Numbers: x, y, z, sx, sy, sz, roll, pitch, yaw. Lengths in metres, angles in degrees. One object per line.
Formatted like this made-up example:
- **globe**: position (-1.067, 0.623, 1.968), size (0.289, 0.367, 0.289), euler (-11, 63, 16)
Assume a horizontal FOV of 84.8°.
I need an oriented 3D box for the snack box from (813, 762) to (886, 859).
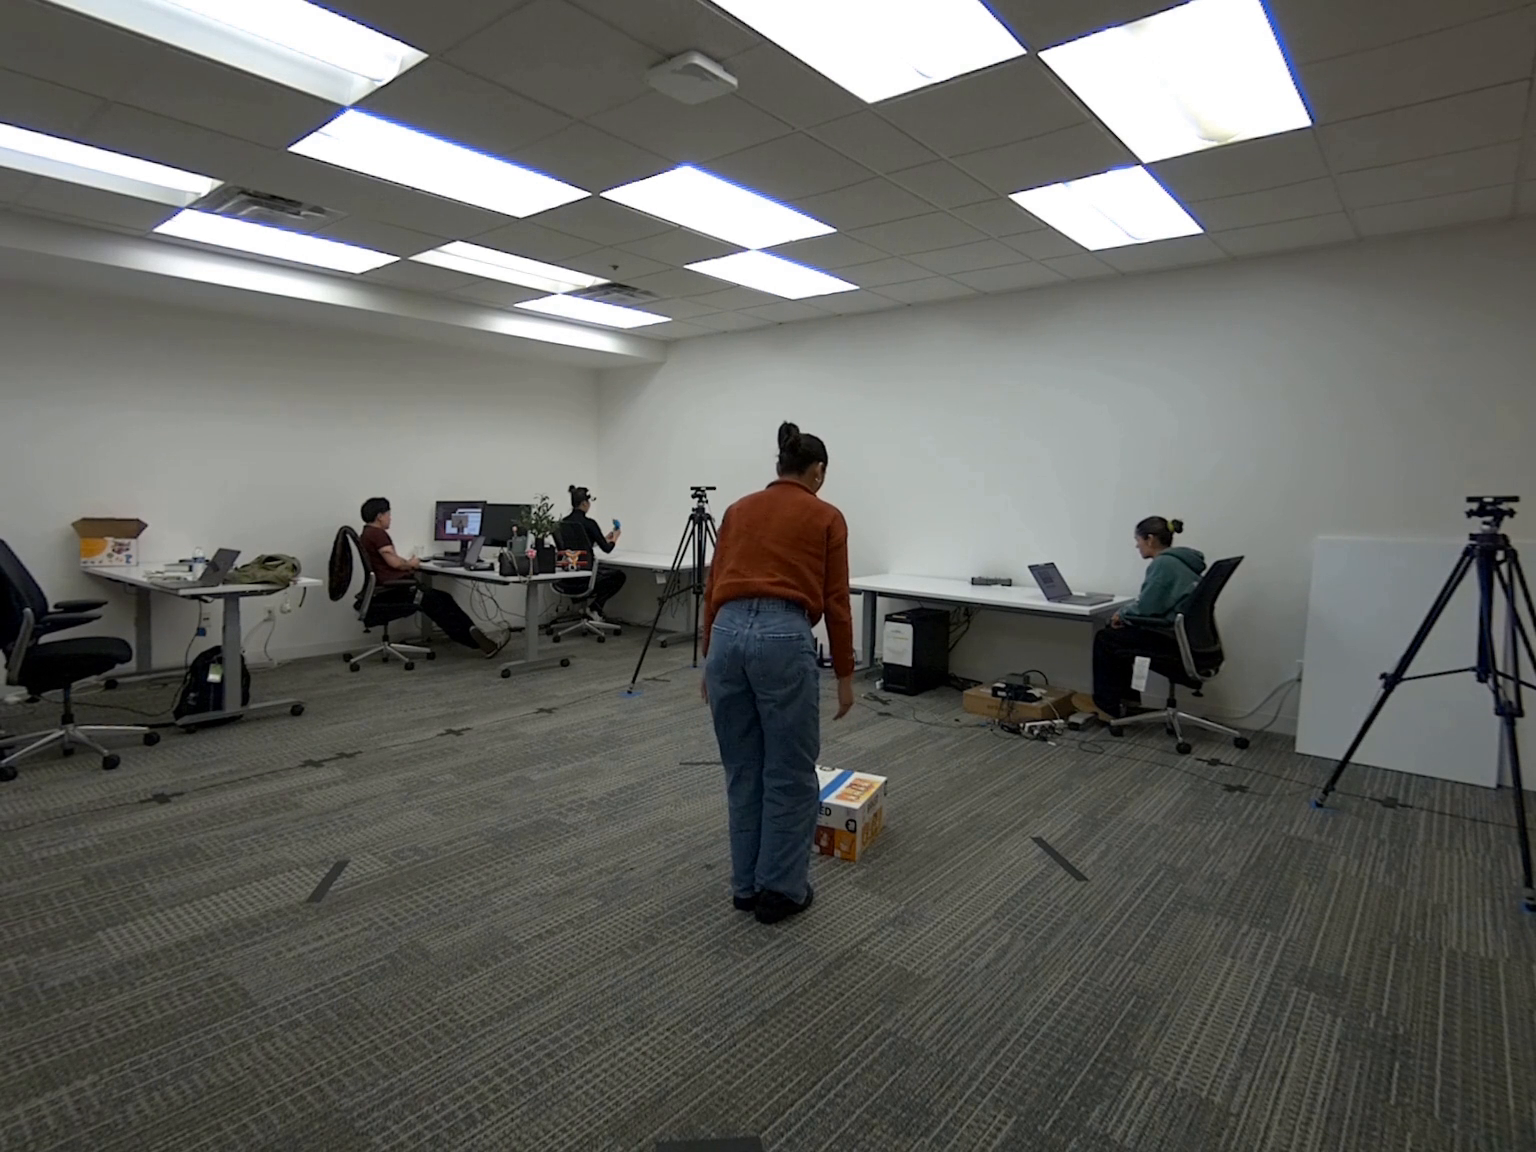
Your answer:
- **snack box**: position (0.253, 0.935, 3.431), size (0.349, 0.205, 0.396), euler (4, 6, 25)
